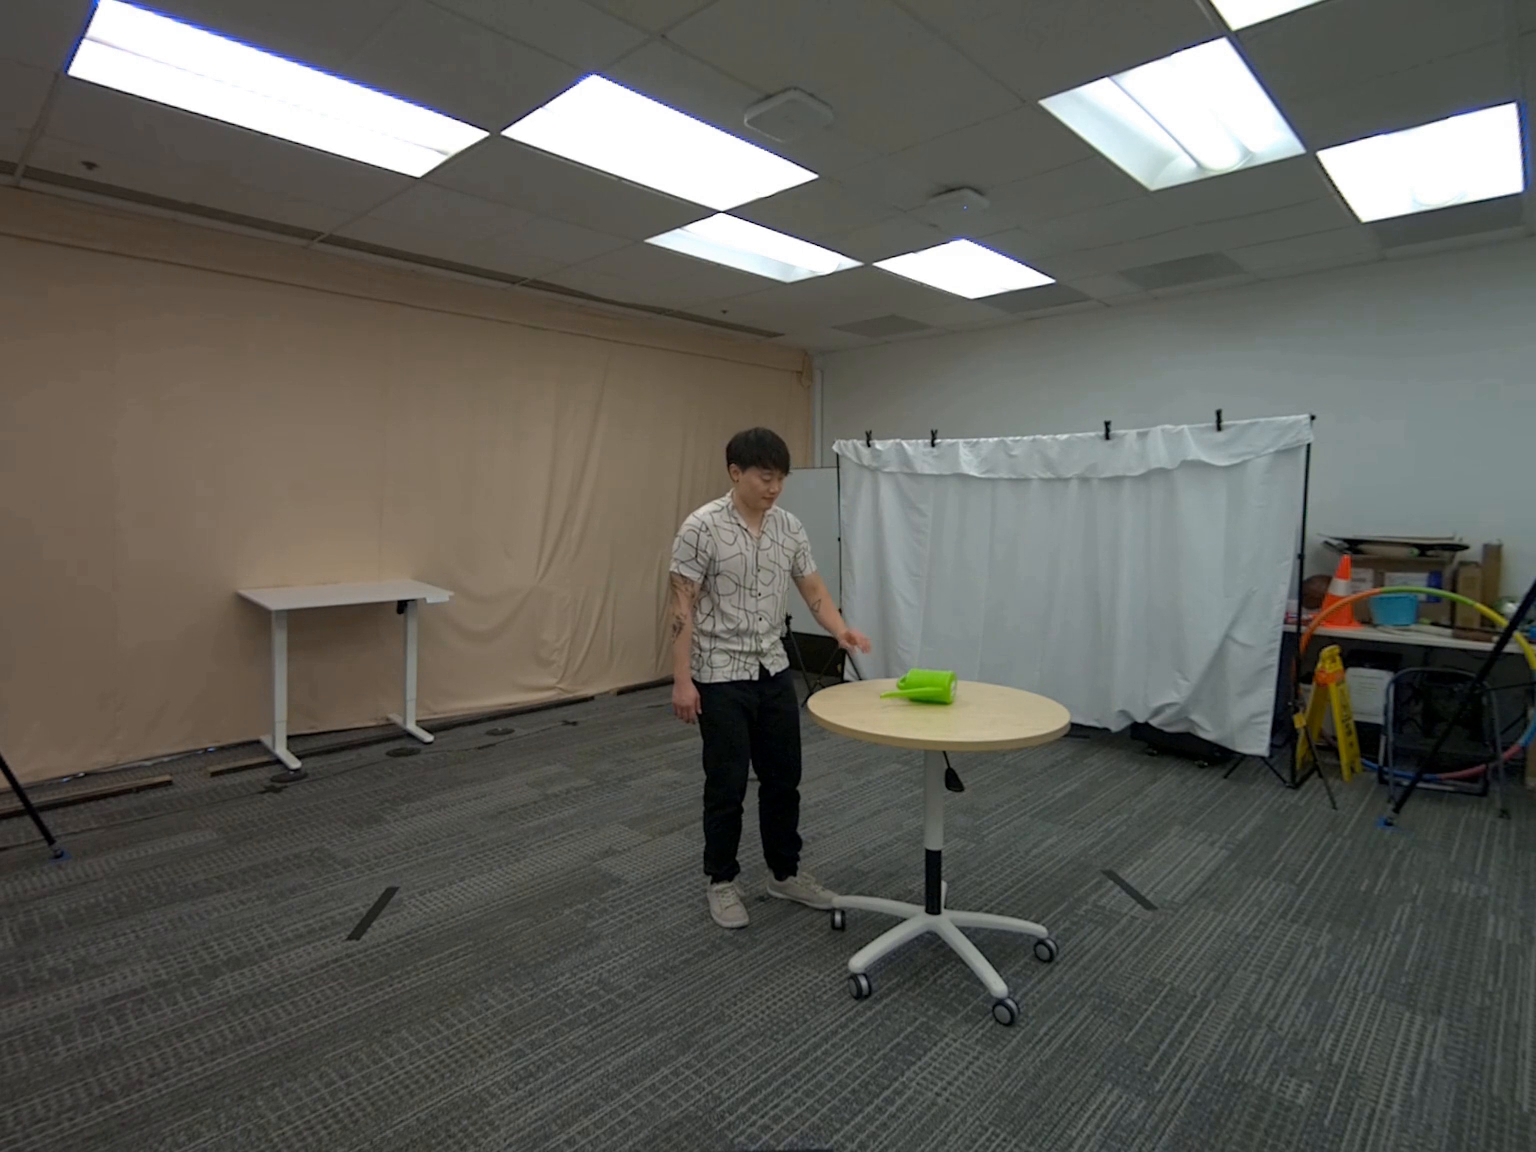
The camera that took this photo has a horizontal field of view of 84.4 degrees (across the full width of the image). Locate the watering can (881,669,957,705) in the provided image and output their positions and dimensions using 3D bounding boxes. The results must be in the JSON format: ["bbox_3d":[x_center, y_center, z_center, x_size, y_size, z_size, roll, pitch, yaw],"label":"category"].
[{"bbox_3d":[0.476,0.357,2.588,0.181,0.097,0.274,1,21,27],"label":"watering can"}]
